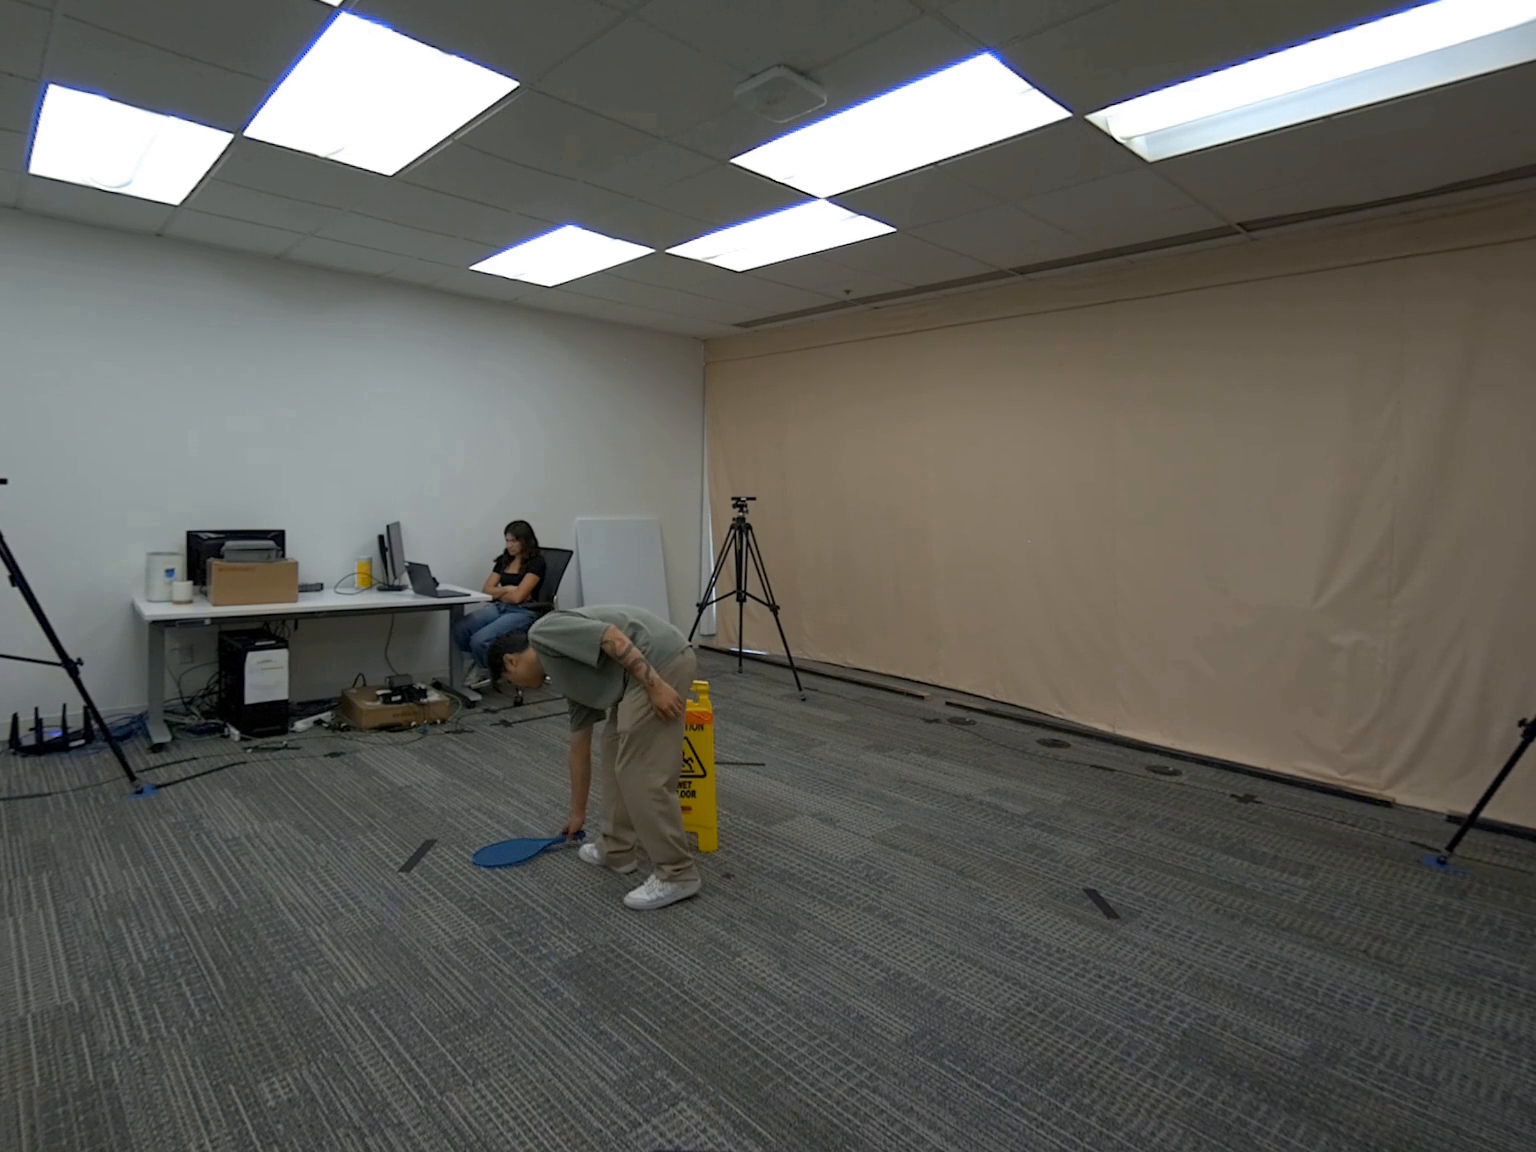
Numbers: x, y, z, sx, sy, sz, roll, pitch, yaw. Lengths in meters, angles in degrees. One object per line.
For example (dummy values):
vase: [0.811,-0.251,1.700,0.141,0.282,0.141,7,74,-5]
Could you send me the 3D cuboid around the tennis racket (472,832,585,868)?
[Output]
tennis racket: [-0.916,1.038,3.267,0.426,0.031,0.218,-6,5,-24]
